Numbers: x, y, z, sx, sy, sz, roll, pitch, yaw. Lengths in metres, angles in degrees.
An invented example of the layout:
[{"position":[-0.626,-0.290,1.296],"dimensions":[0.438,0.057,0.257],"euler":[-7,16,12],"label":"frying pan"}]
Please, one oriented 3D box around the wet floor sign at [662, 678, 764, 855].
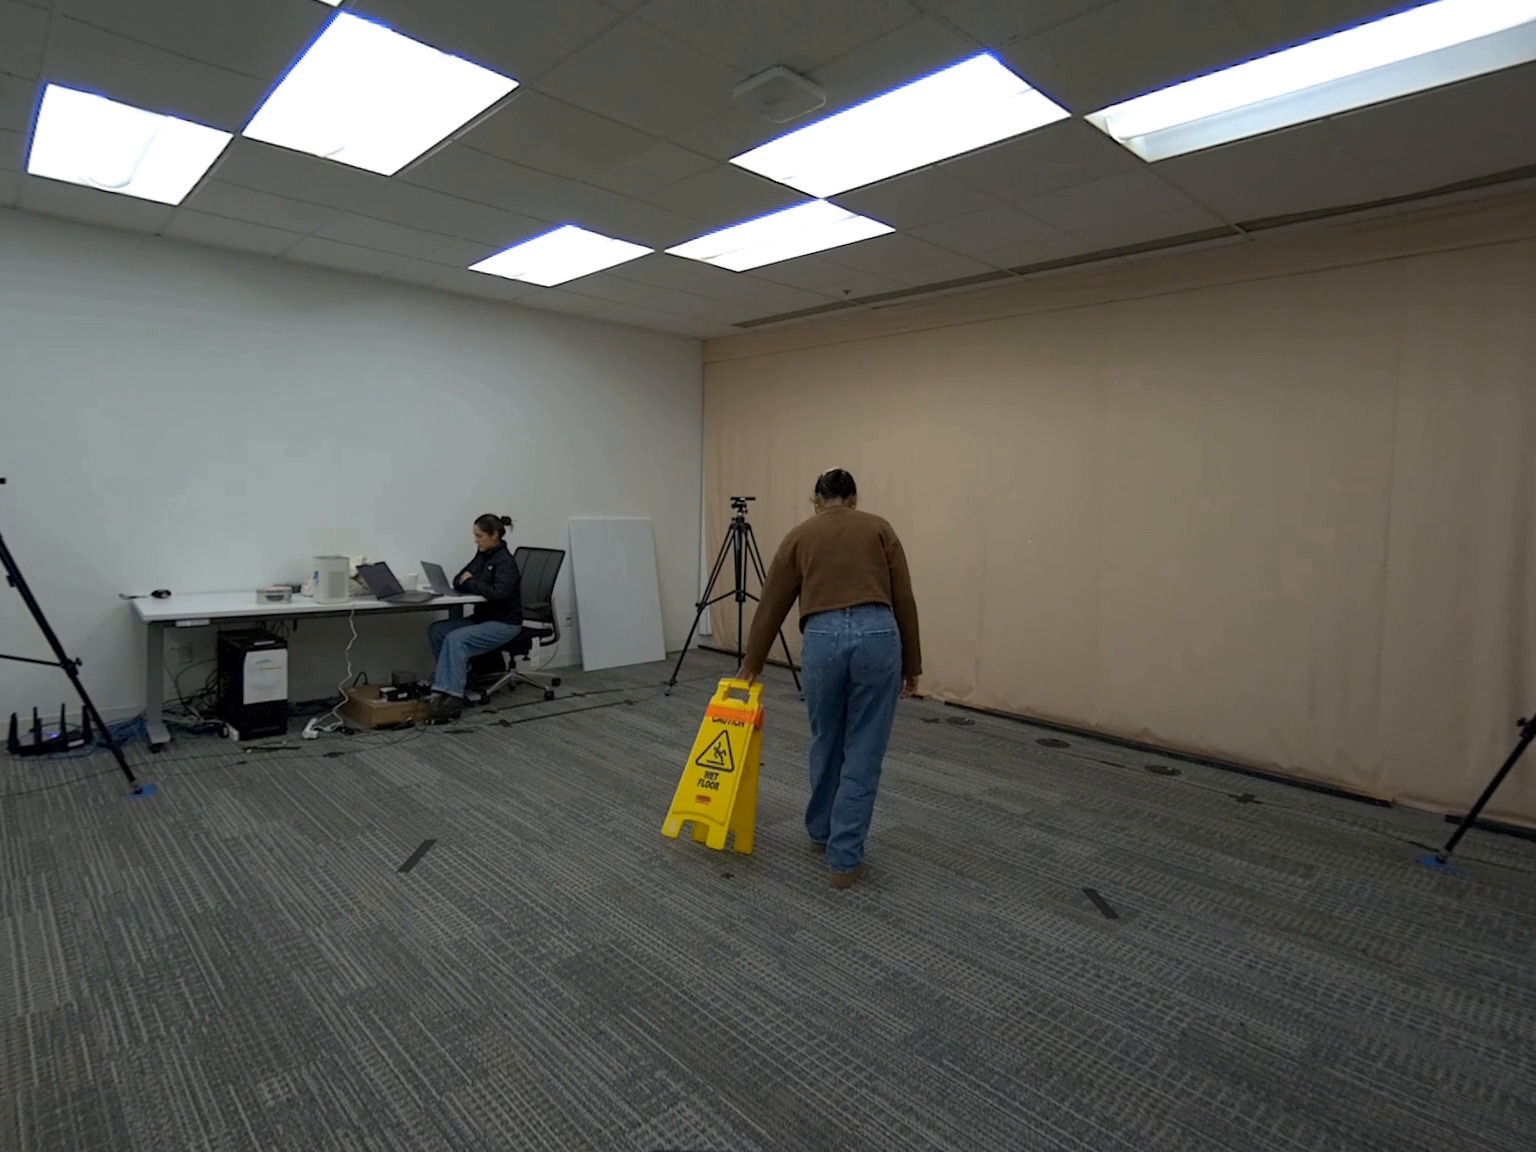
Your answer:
[{"position":[-0.177,0.736,3.361],"dimensions":[0.288,0.652,0.281],"euler":[4,-19,28],"label":"wet floor sign"}]
